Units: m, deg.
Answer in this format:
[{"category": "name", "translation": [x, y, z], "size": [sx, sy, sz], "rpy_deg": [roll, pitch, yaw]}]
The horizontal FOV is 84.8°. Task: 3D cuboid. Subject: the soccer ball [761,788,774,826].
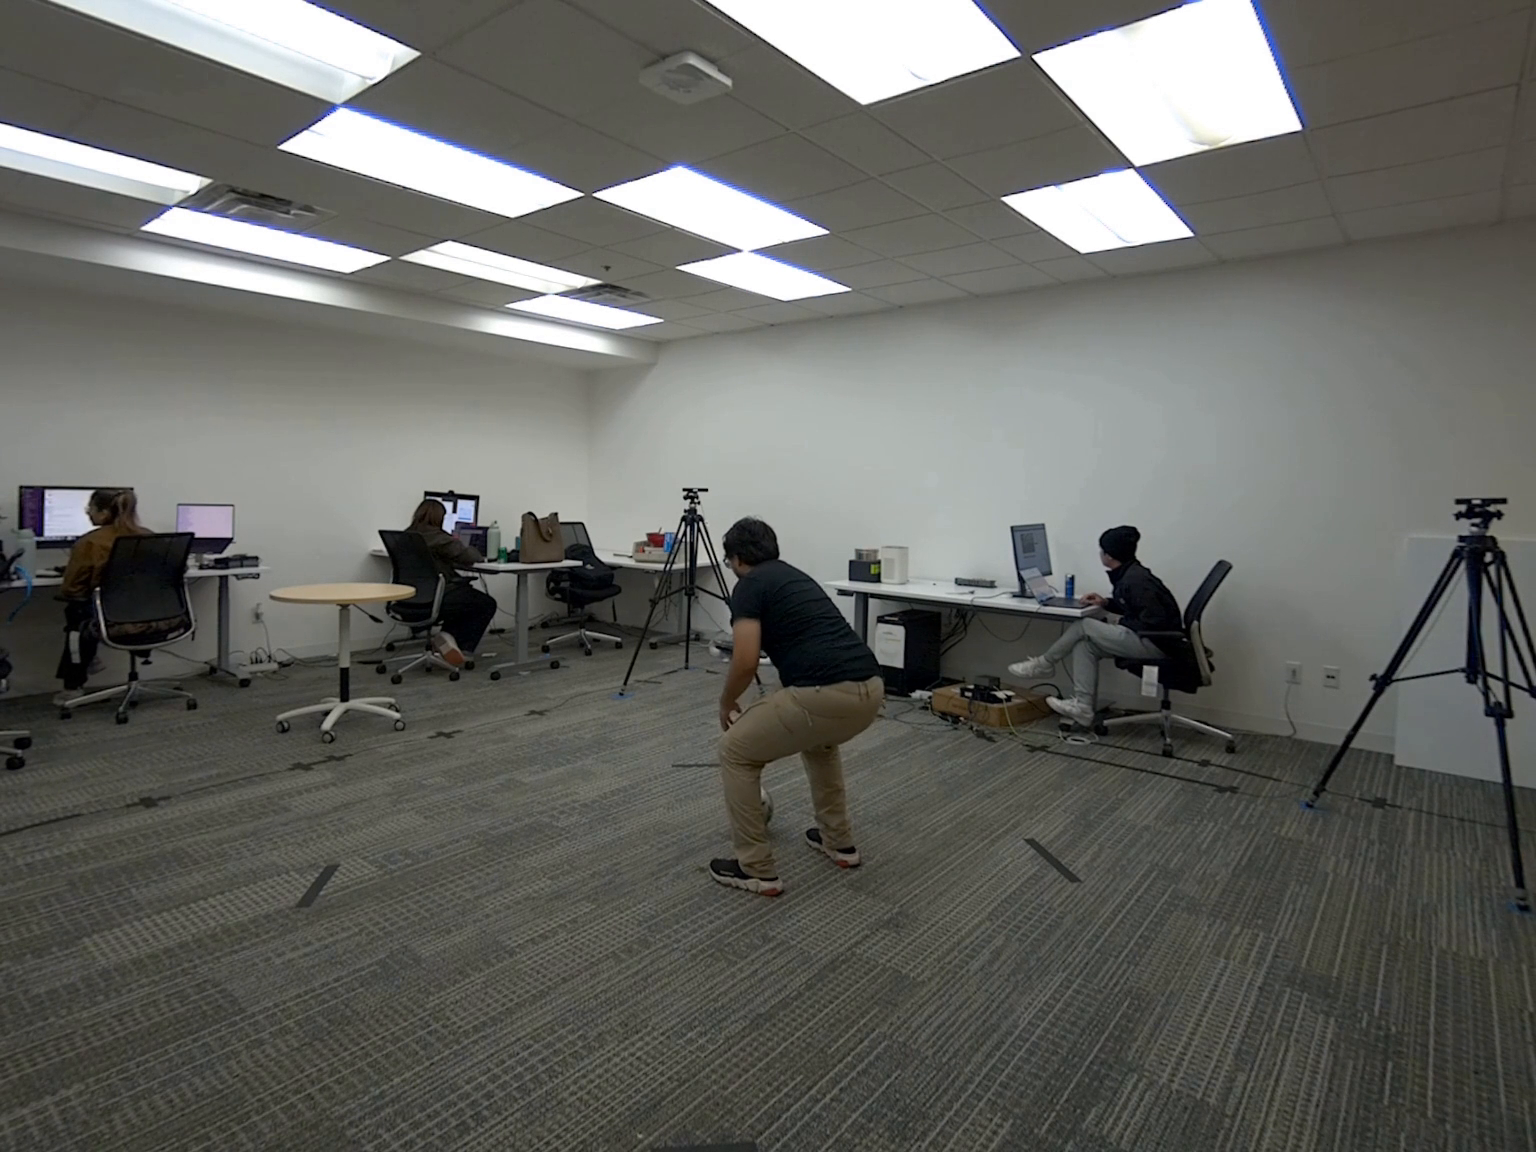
[{"category": "soccer ball", "translation": [-0.075, 0.936, 3.476], "size": [0.187, 0.187, 0.188], "rpy_deg": [1, 4, -2]}]
